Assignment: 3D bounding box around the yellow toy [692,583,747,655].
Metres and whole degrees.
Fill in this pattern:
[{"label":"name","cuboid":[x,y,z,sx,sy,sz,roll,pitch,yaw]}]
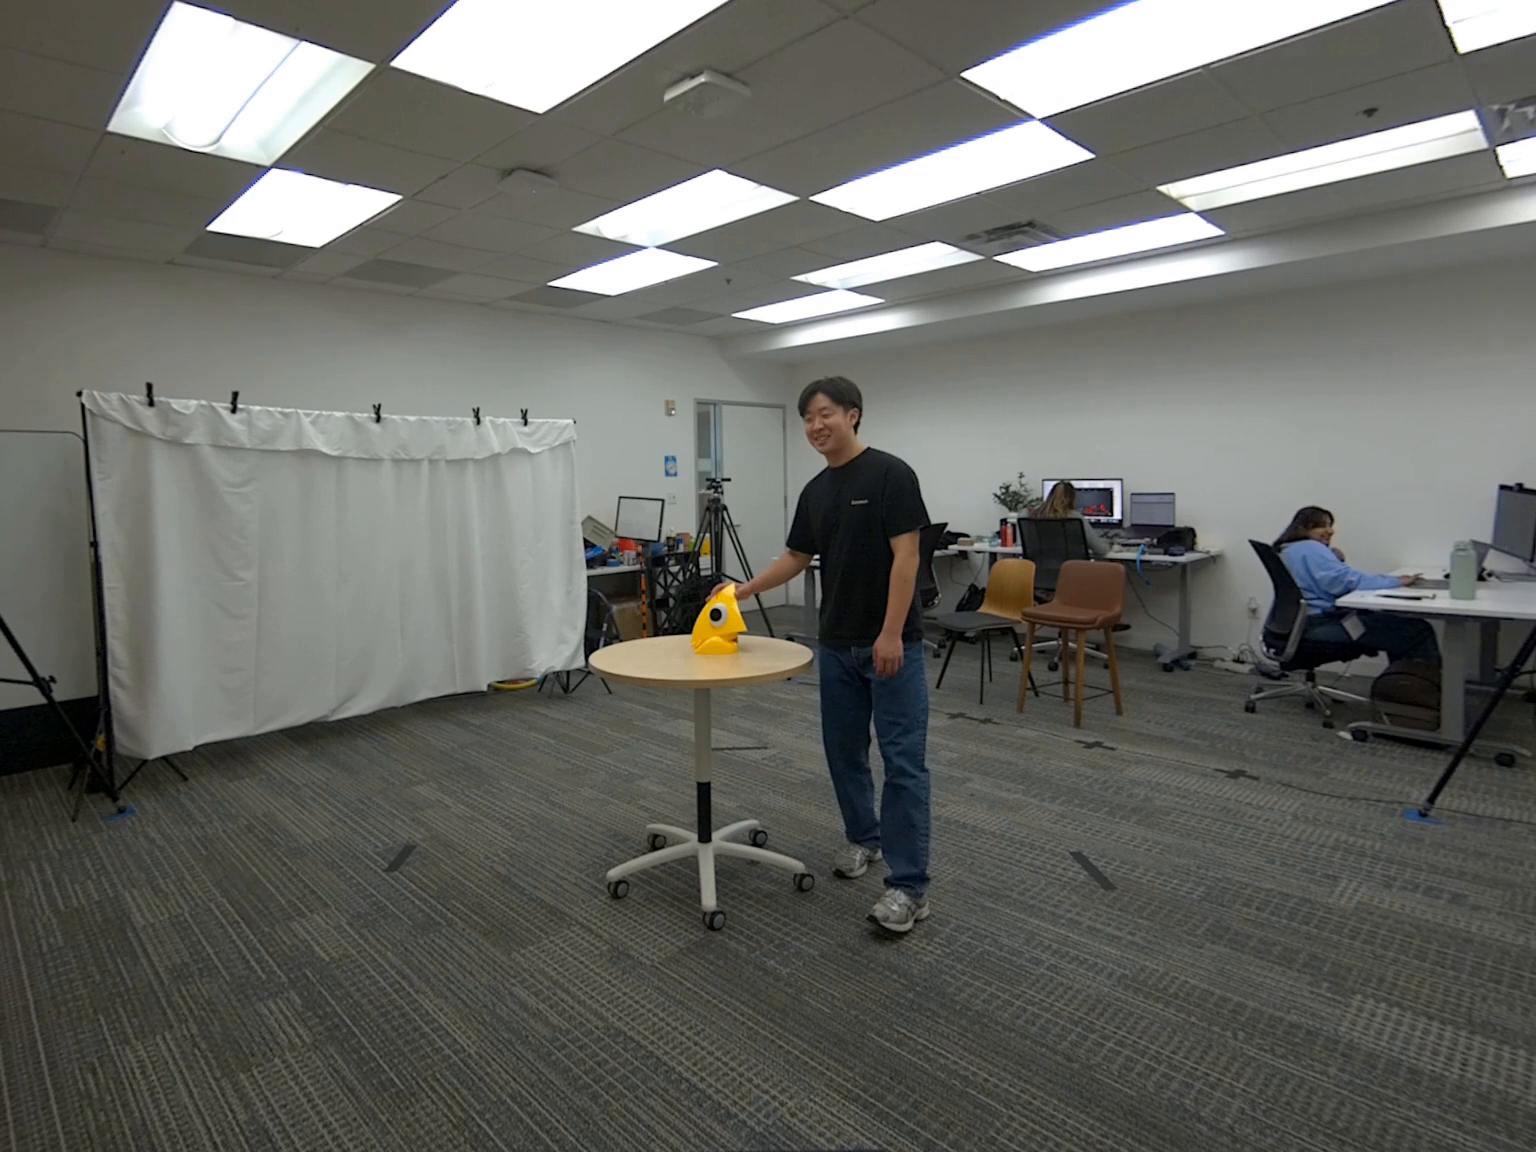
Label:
[{"label":"yellow toy","cuboid":[-0.172,0.142,3.017,0.192,0.229,0.207,-2,6,-8]}]
